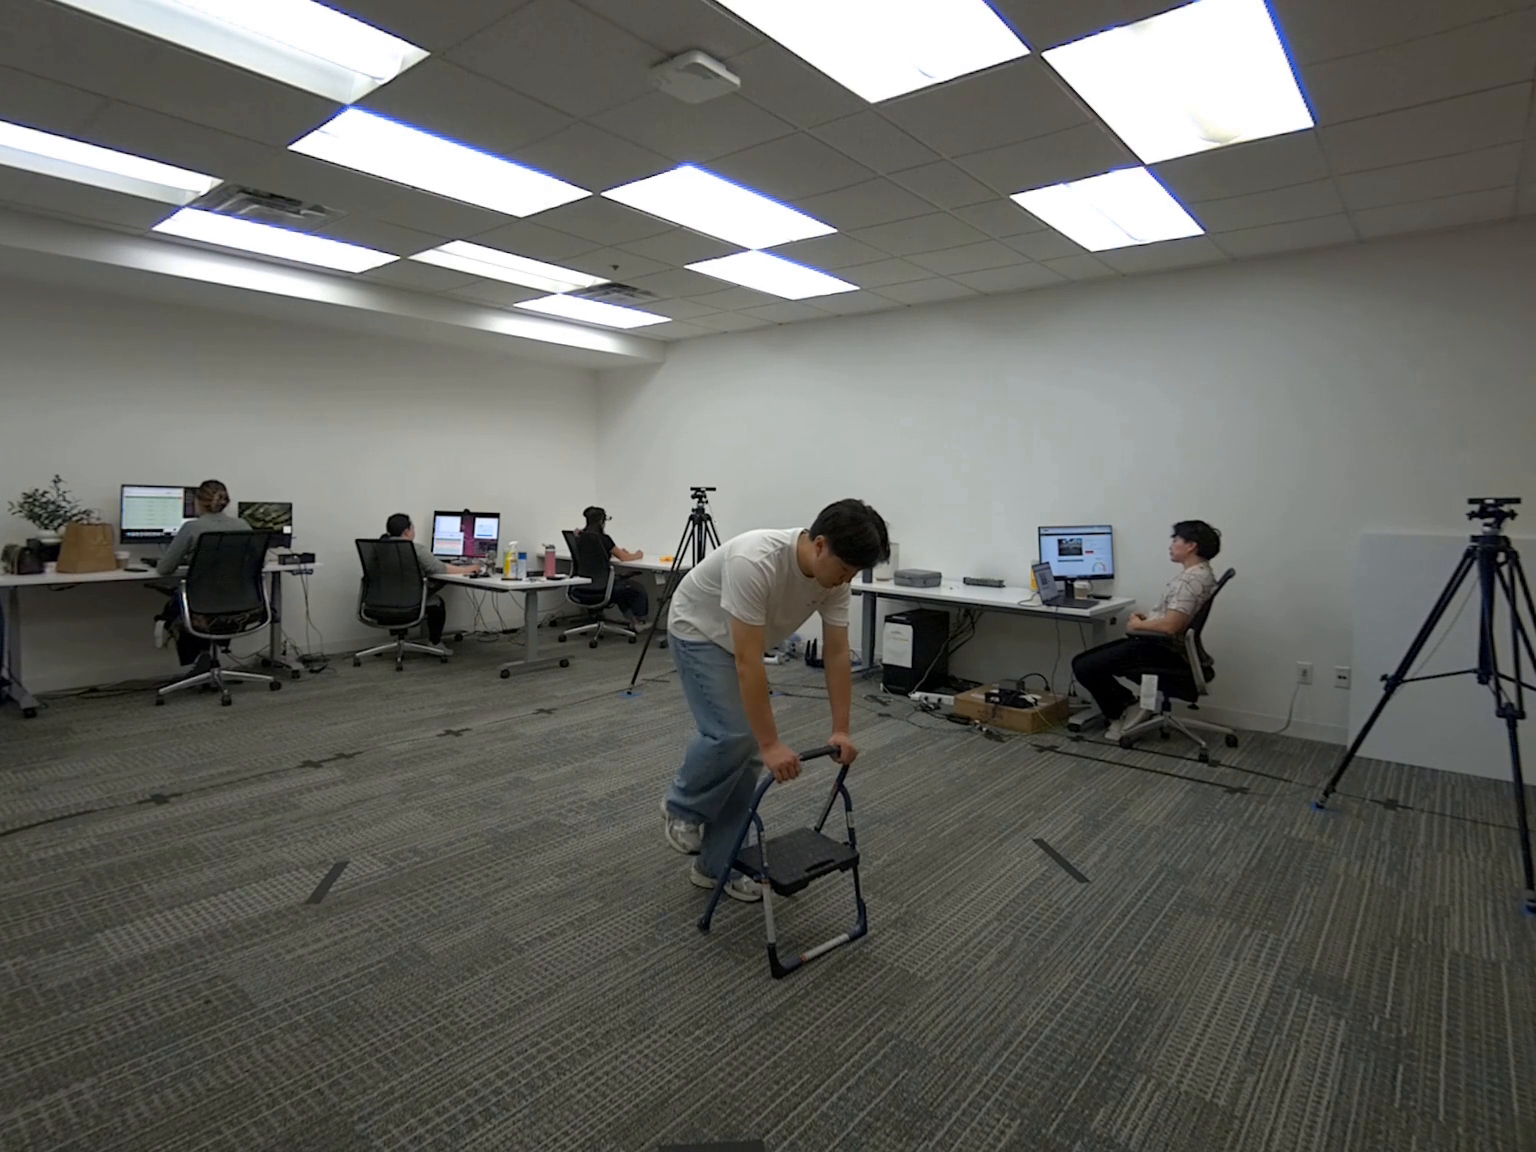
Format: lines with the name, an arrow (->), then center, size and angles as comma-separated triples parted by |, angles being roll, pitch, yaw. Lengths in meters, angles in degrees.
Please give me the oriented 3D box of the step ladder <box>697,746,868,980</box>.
step ladder -> 0.060, 0.809, 2.643 | 0.417, 0.603, 0.362 | -2, 7, -44
